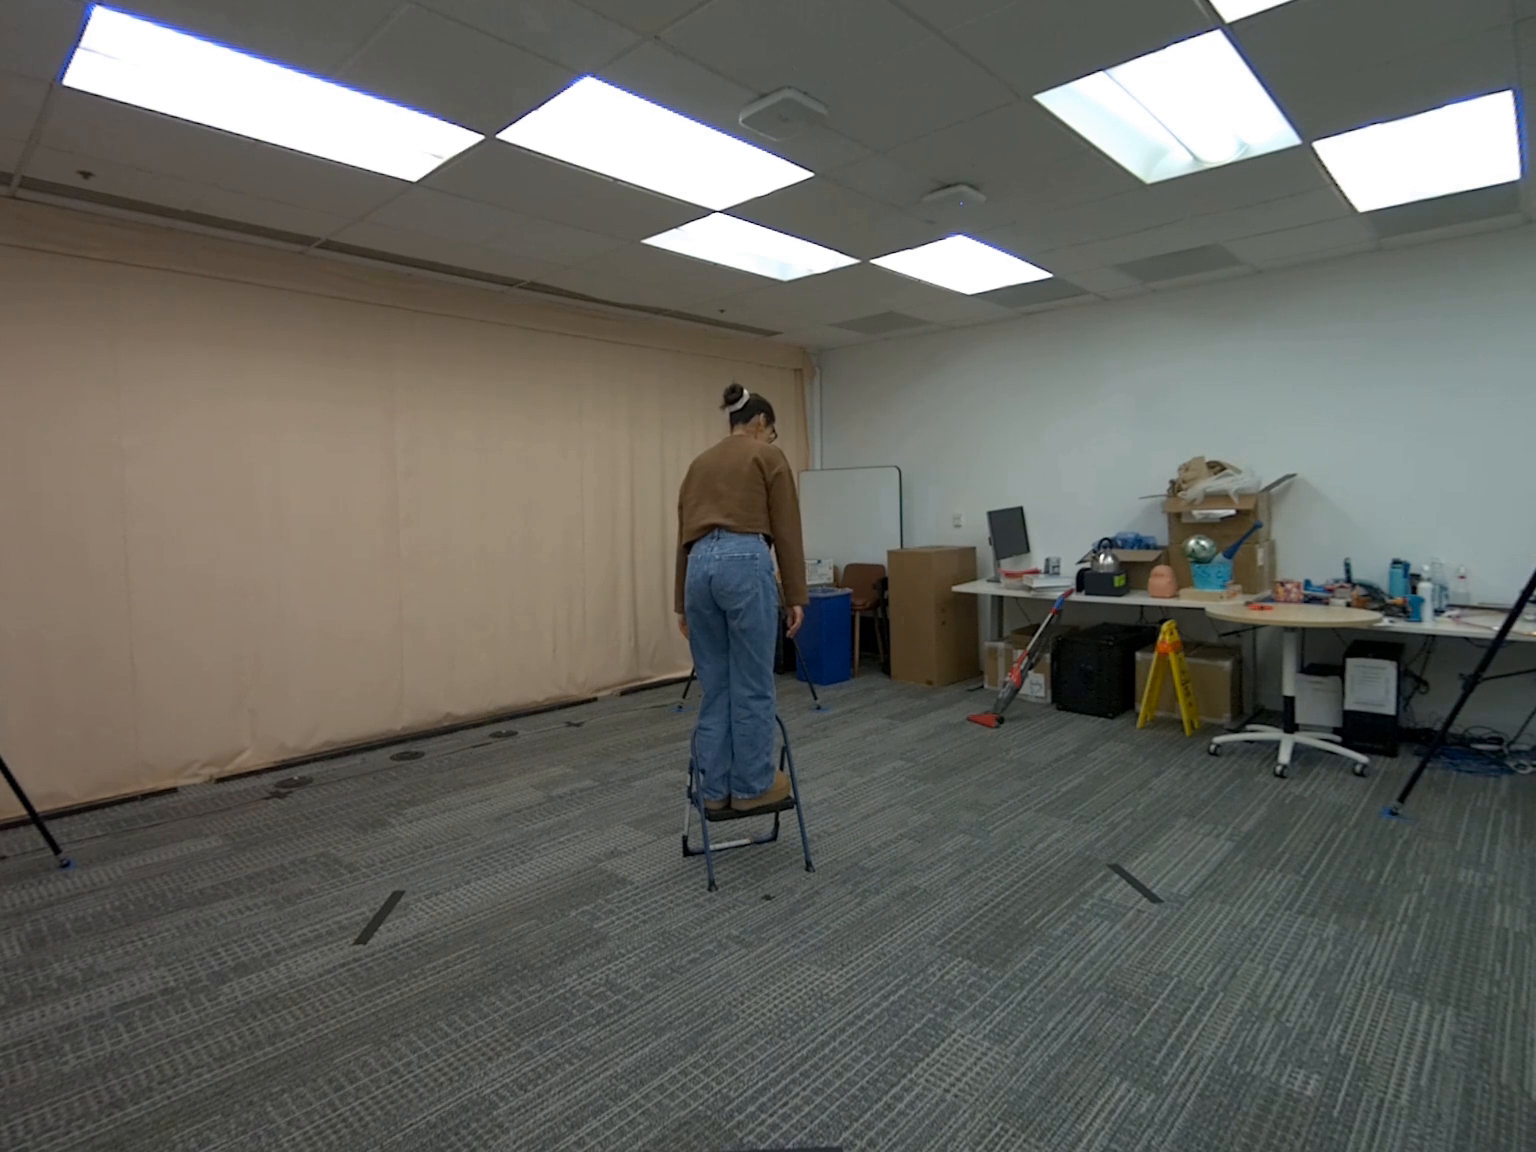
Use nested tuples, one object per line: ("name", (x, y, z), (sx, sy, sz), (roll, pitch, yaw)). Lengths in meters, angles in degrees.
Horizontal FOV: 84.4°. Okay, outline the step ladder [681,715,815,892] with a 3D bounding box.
("step ladder", (-0.087, 0.819, 3.260), (0.421, 0.605, 0.358), (-3, 4, -23))
